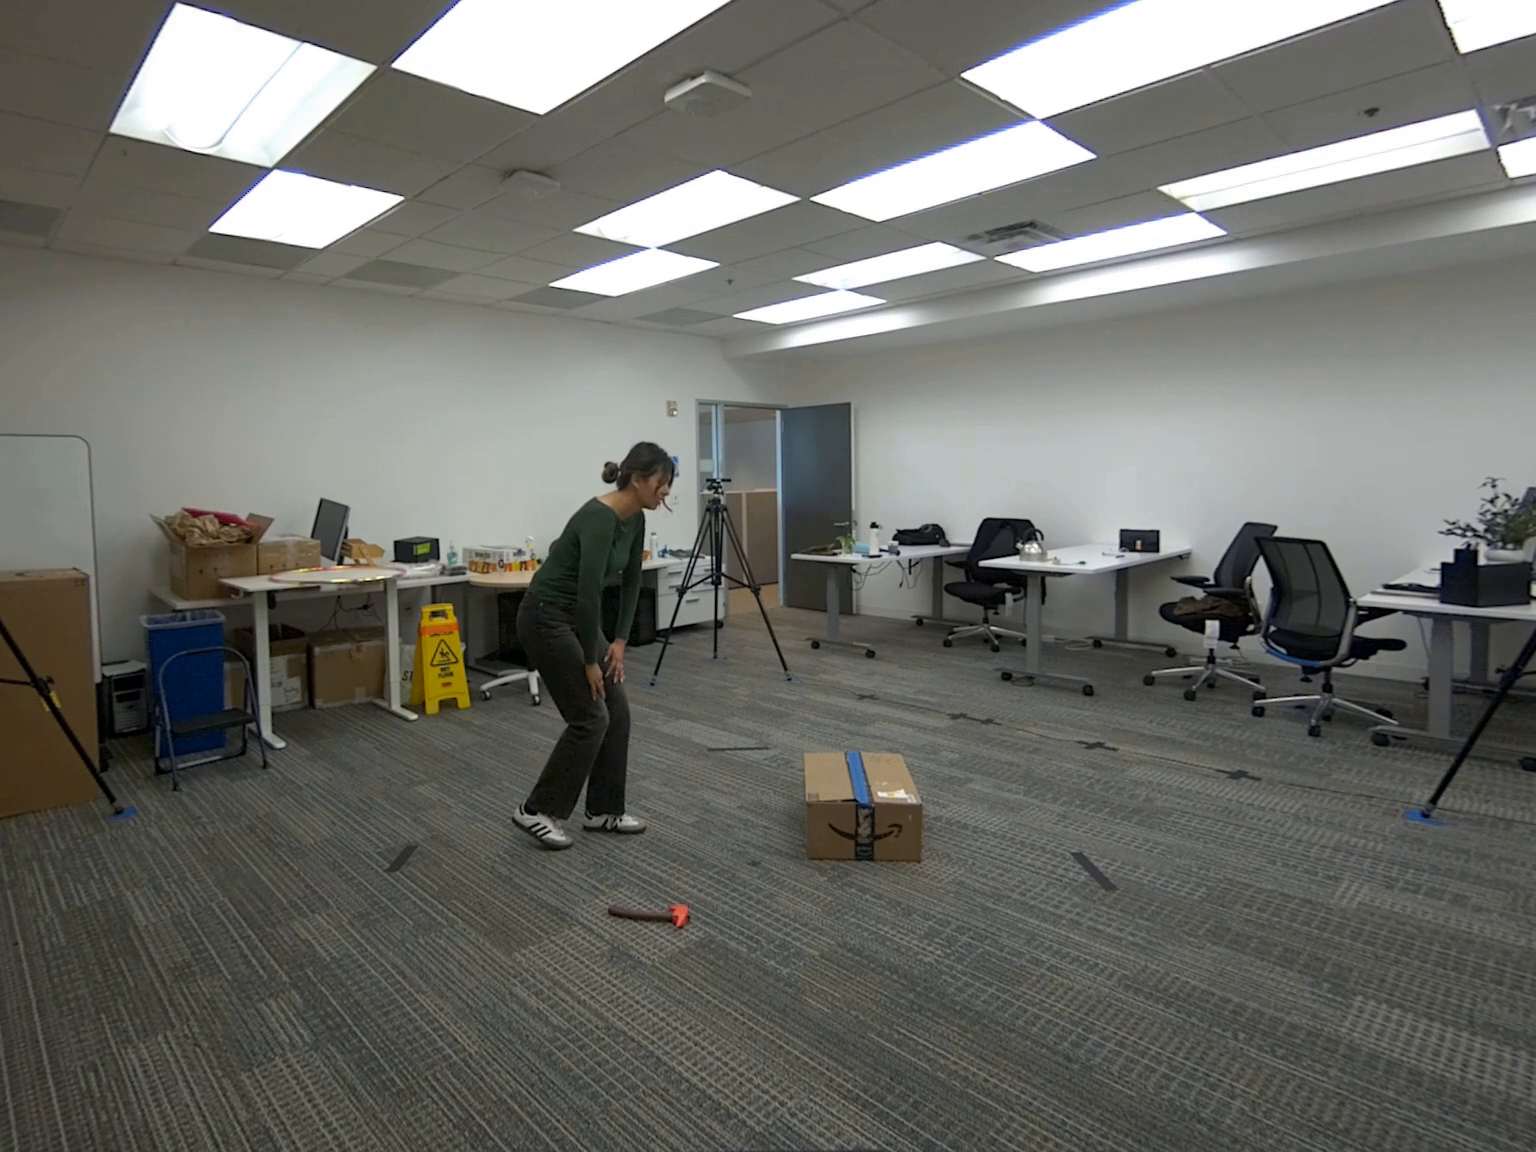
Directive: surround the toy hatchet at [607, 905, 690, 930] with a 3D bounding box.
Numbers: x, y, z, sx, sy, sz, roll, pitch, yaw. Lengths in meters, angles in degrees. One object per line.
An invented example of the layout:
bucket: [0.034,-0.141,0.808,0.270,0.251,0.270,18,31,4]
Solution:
toy hatchet: [-0.367,1.080,2.751,0.276,0.029,0.129,1,7,25]
